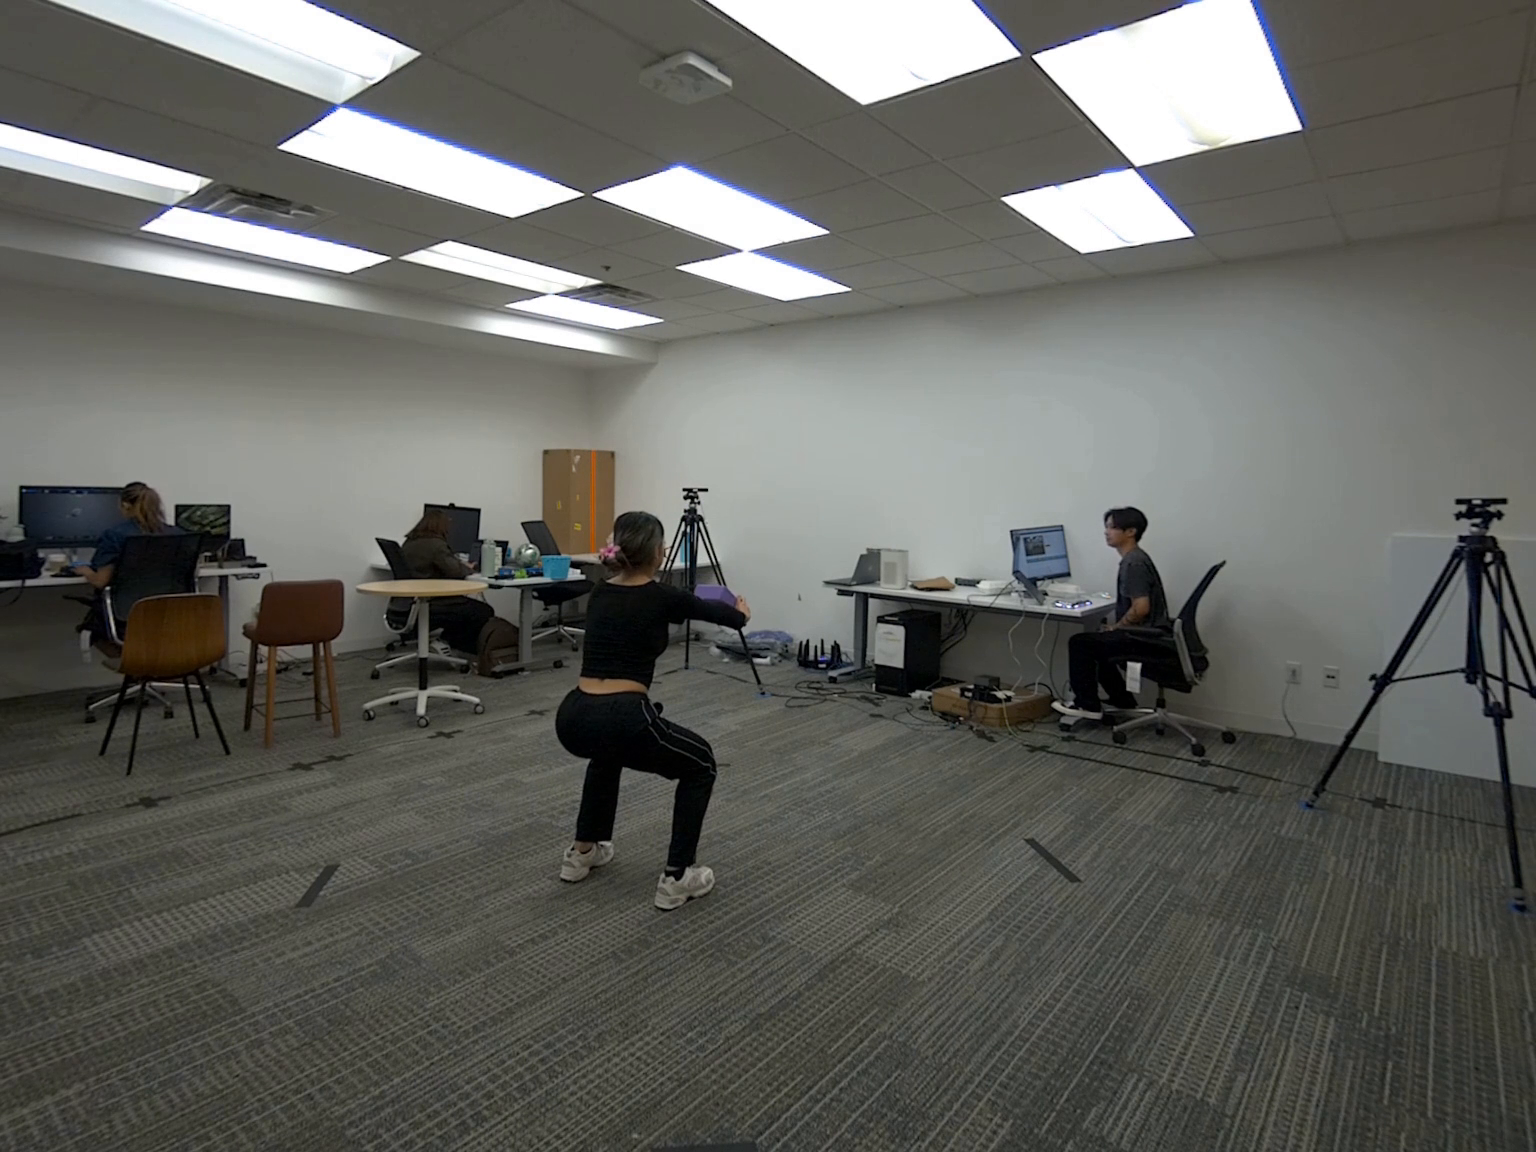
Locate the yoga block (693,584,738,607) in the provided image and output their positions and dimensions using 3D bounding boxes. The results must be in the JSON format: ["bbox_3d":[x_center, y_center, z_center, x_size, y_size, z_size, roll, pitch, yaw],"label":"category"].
[{"bbox_3d":[-0.211,0.108,3.507,0.153,0.077,0.220,1,-31,32],"label":"yoga block"}]
